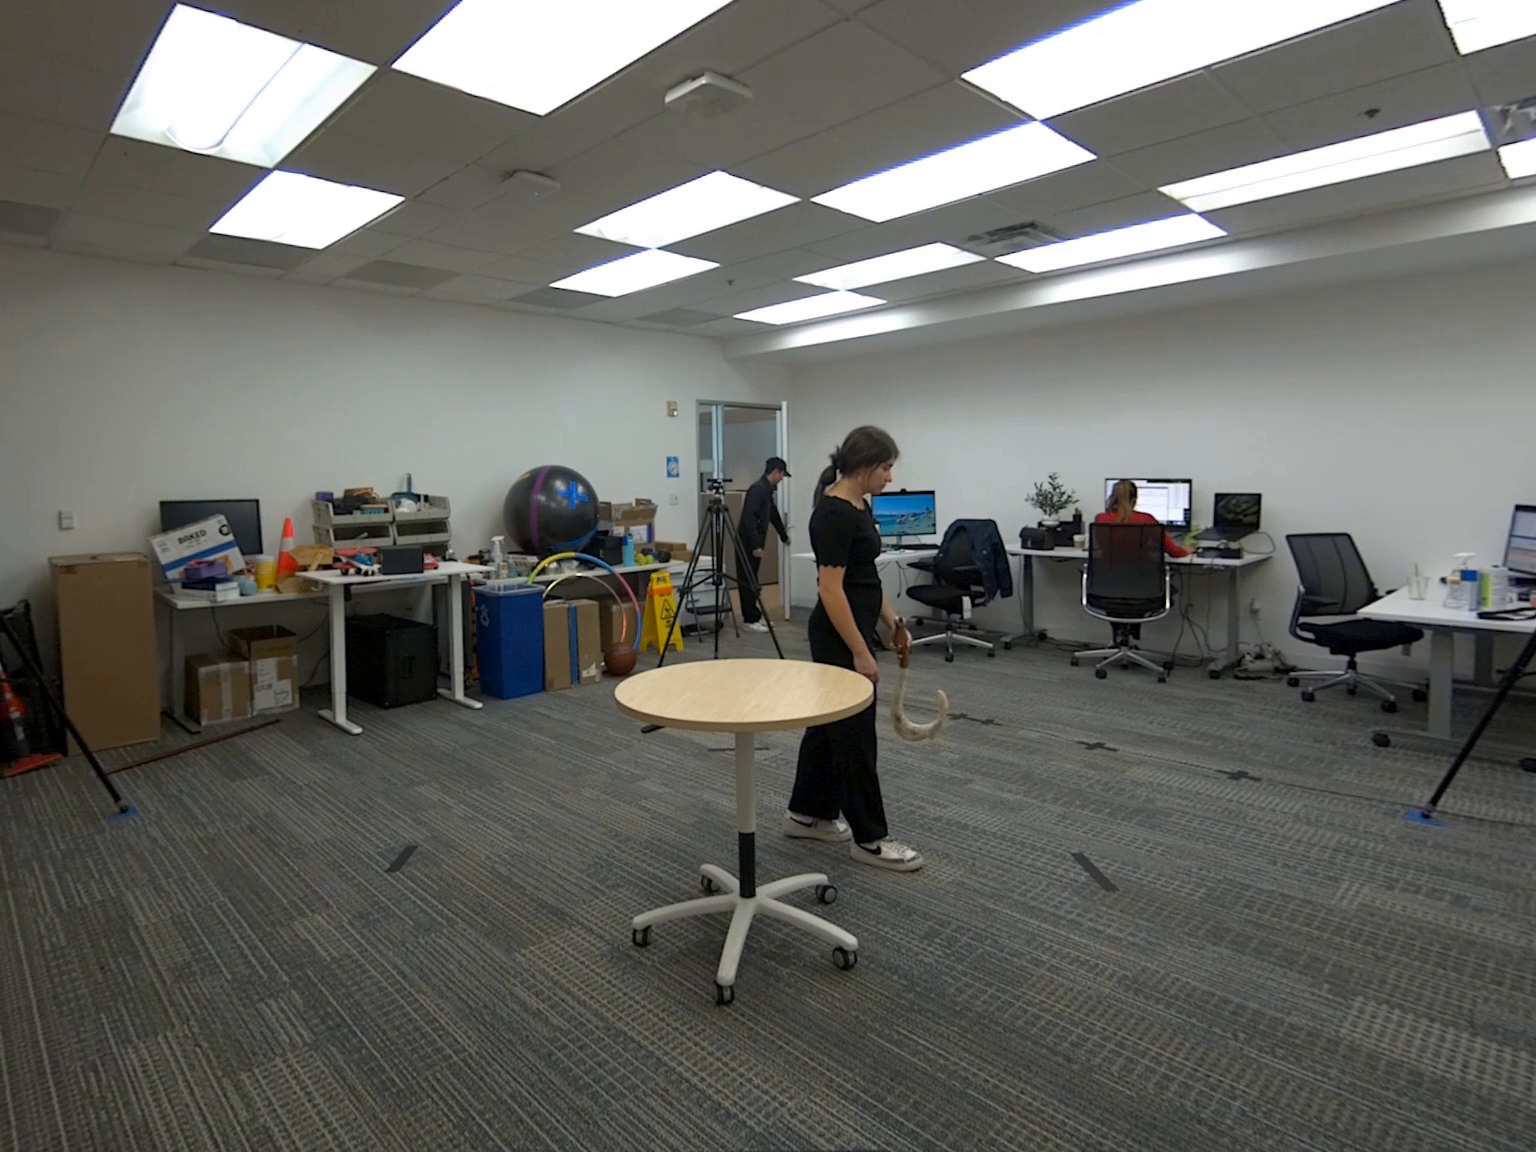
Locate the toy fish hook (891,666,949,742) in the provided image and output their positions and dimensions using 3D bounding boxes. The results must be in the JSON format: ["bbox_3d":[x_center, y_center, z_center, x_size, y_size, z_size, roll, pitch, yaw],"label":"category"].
[{"bbox_3d":[0.588,0.378,3.298,0.224,0.503,0.049,-8,7,-3],"label":"toy fish hook"}]
